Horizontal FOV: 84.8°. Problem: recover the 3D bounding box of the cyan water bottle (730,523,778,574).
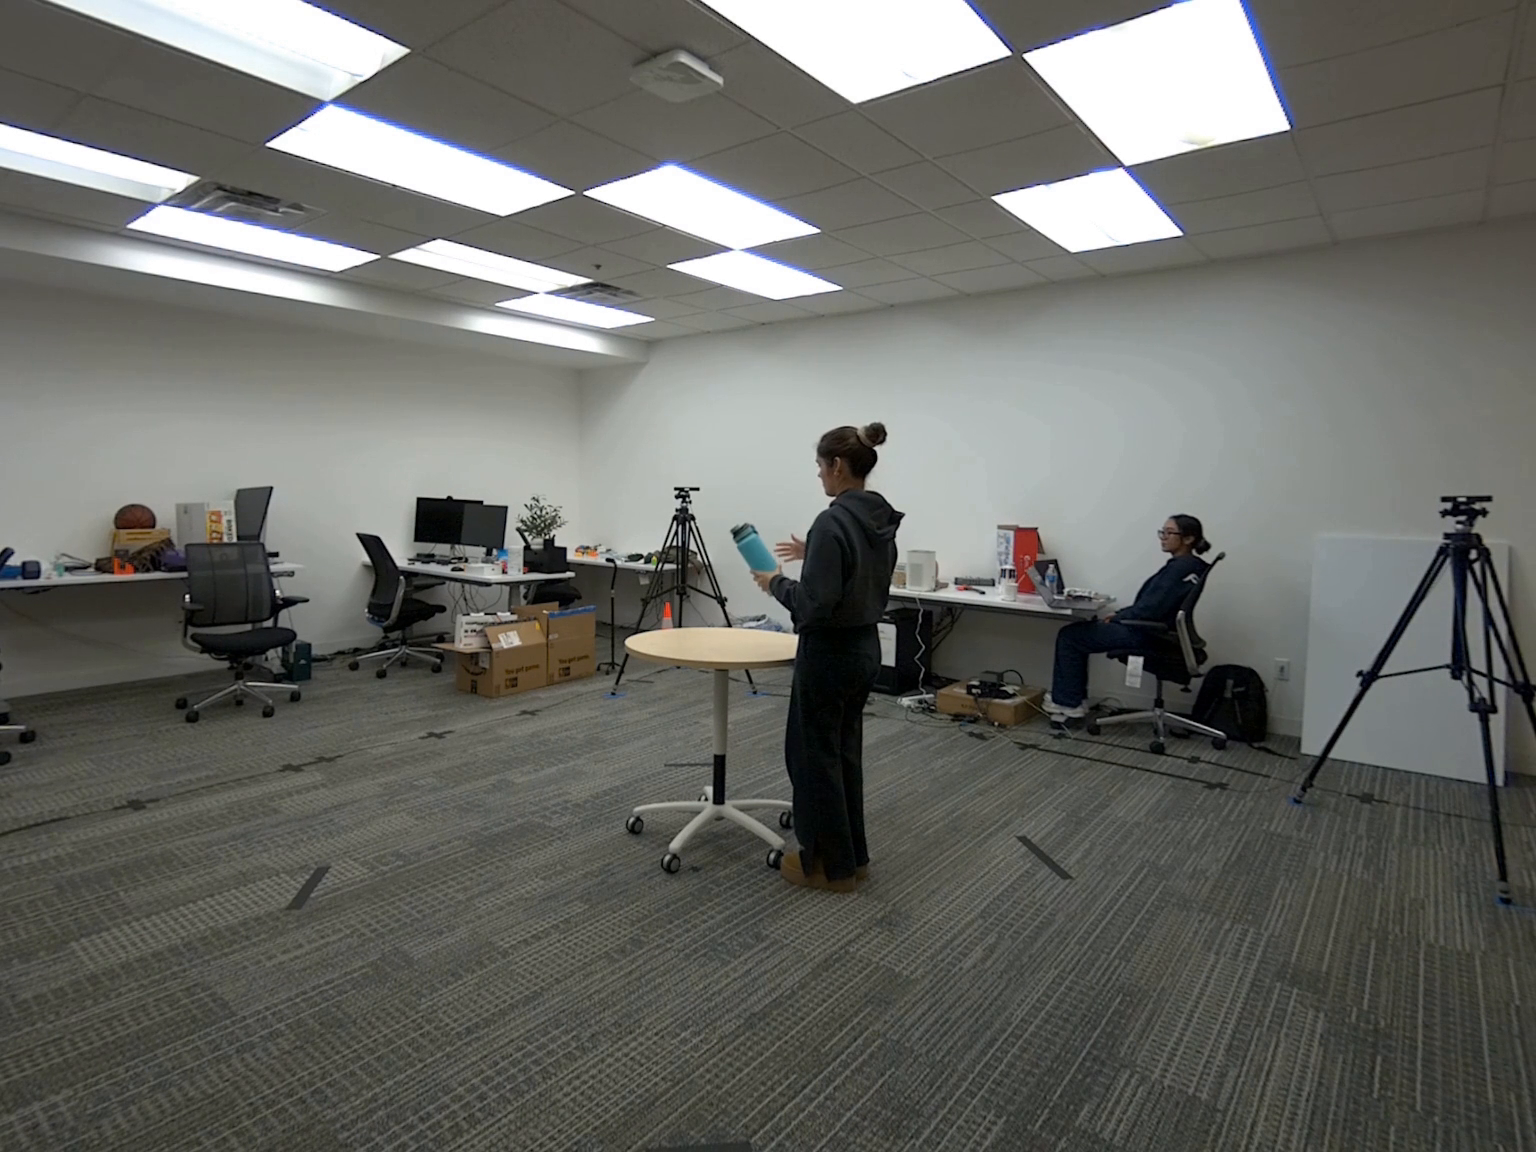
[{"bbox_3d":[-0.028,-0.072,3.071,0.092,0.284,0.092,-33,-1,-2],"label":"cyan water bottle"}]
